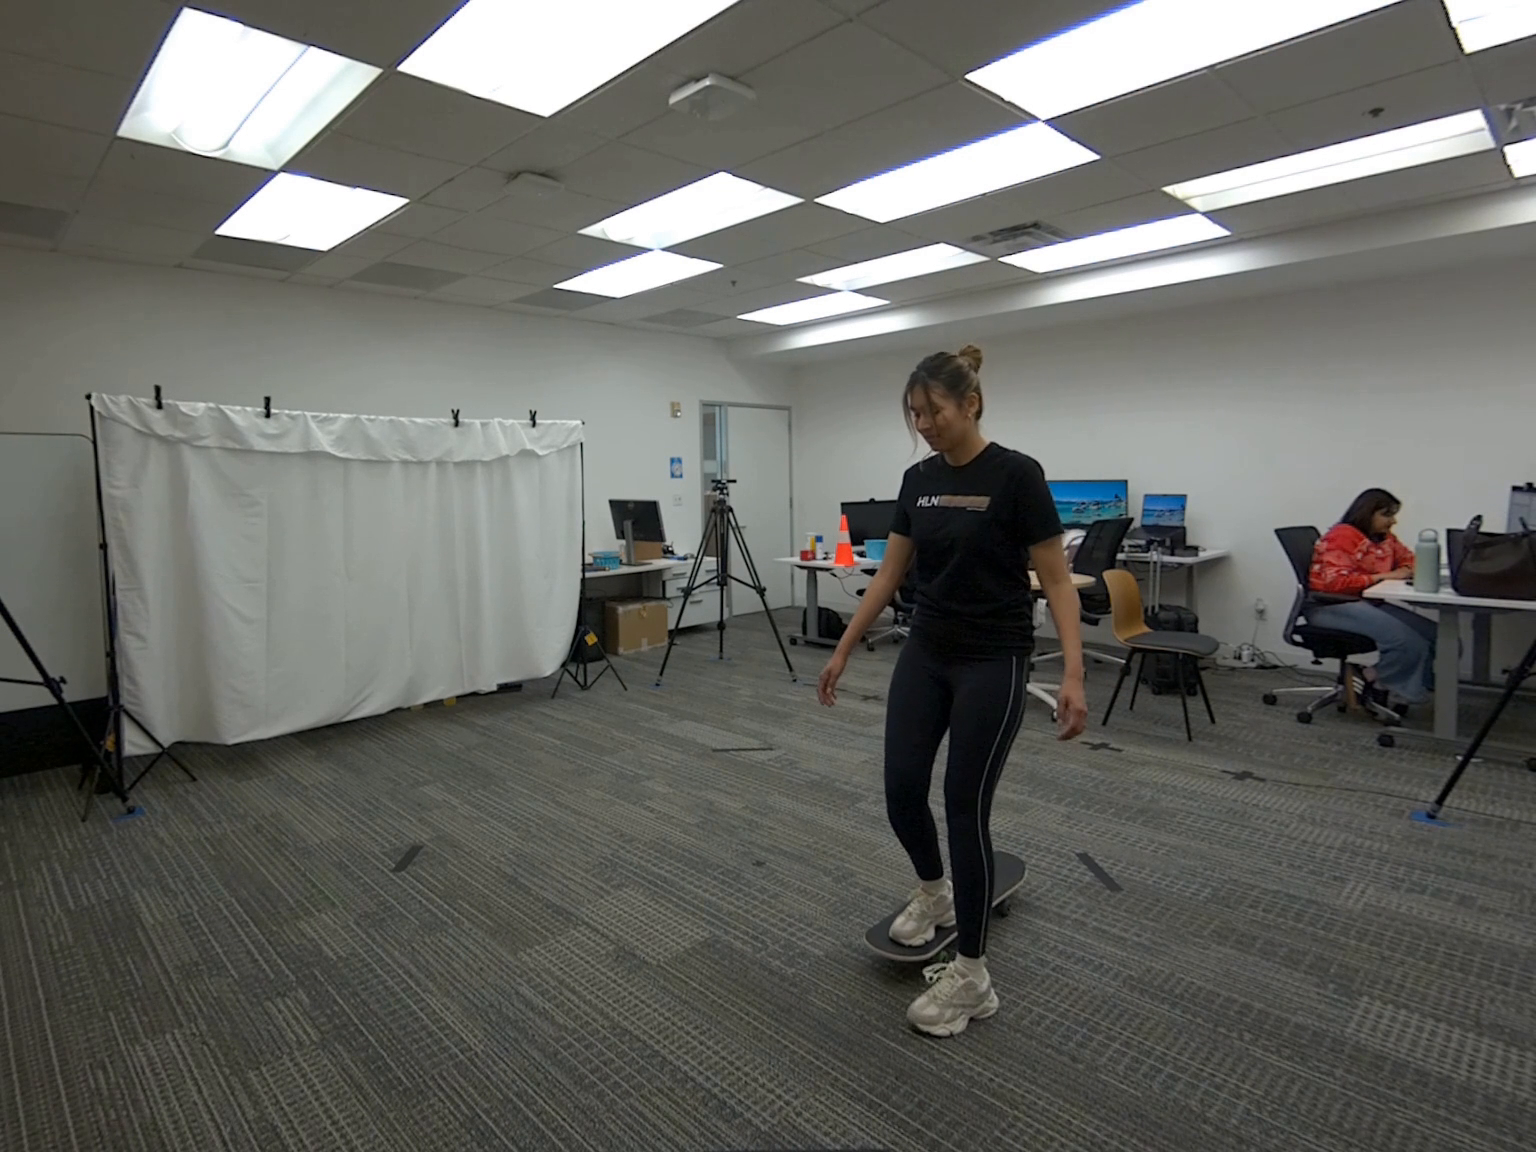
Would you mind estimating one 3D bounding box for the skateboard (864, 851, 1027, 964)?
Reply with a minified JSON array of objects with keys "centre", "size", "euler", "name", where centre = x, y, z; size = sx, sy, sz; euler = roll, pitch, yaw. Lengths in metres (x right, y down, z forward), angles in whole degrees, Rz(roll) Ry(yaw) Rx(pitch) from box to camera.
[{"centre":[0.577,1.042,2.616],"size":[0.200,0.109,0.766],"euler":[7,11,43],"name":"skateboard"}]
